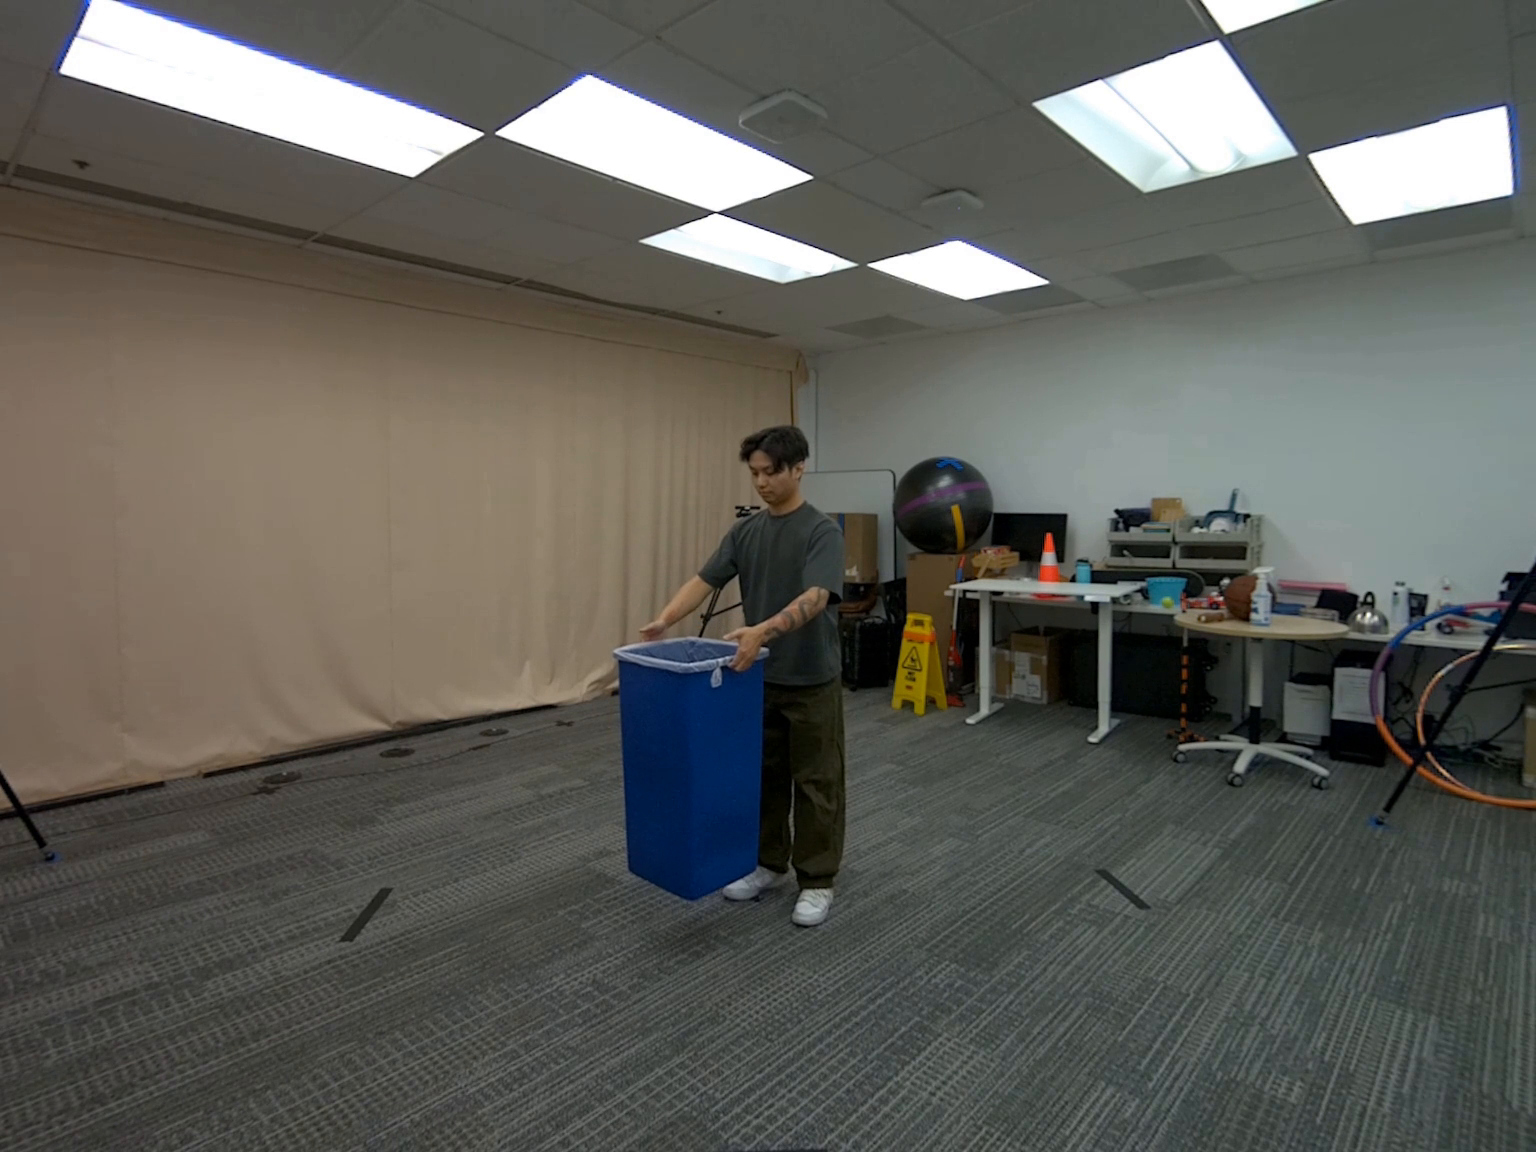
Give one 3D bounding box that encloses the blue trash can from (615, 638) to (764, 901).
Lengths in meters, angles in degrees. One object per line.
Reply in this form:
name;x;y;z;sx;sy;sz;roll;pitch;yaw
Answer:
blue trash can;-0.242;0.592;2.656;0.391;0.712;0.362;3;4;42
